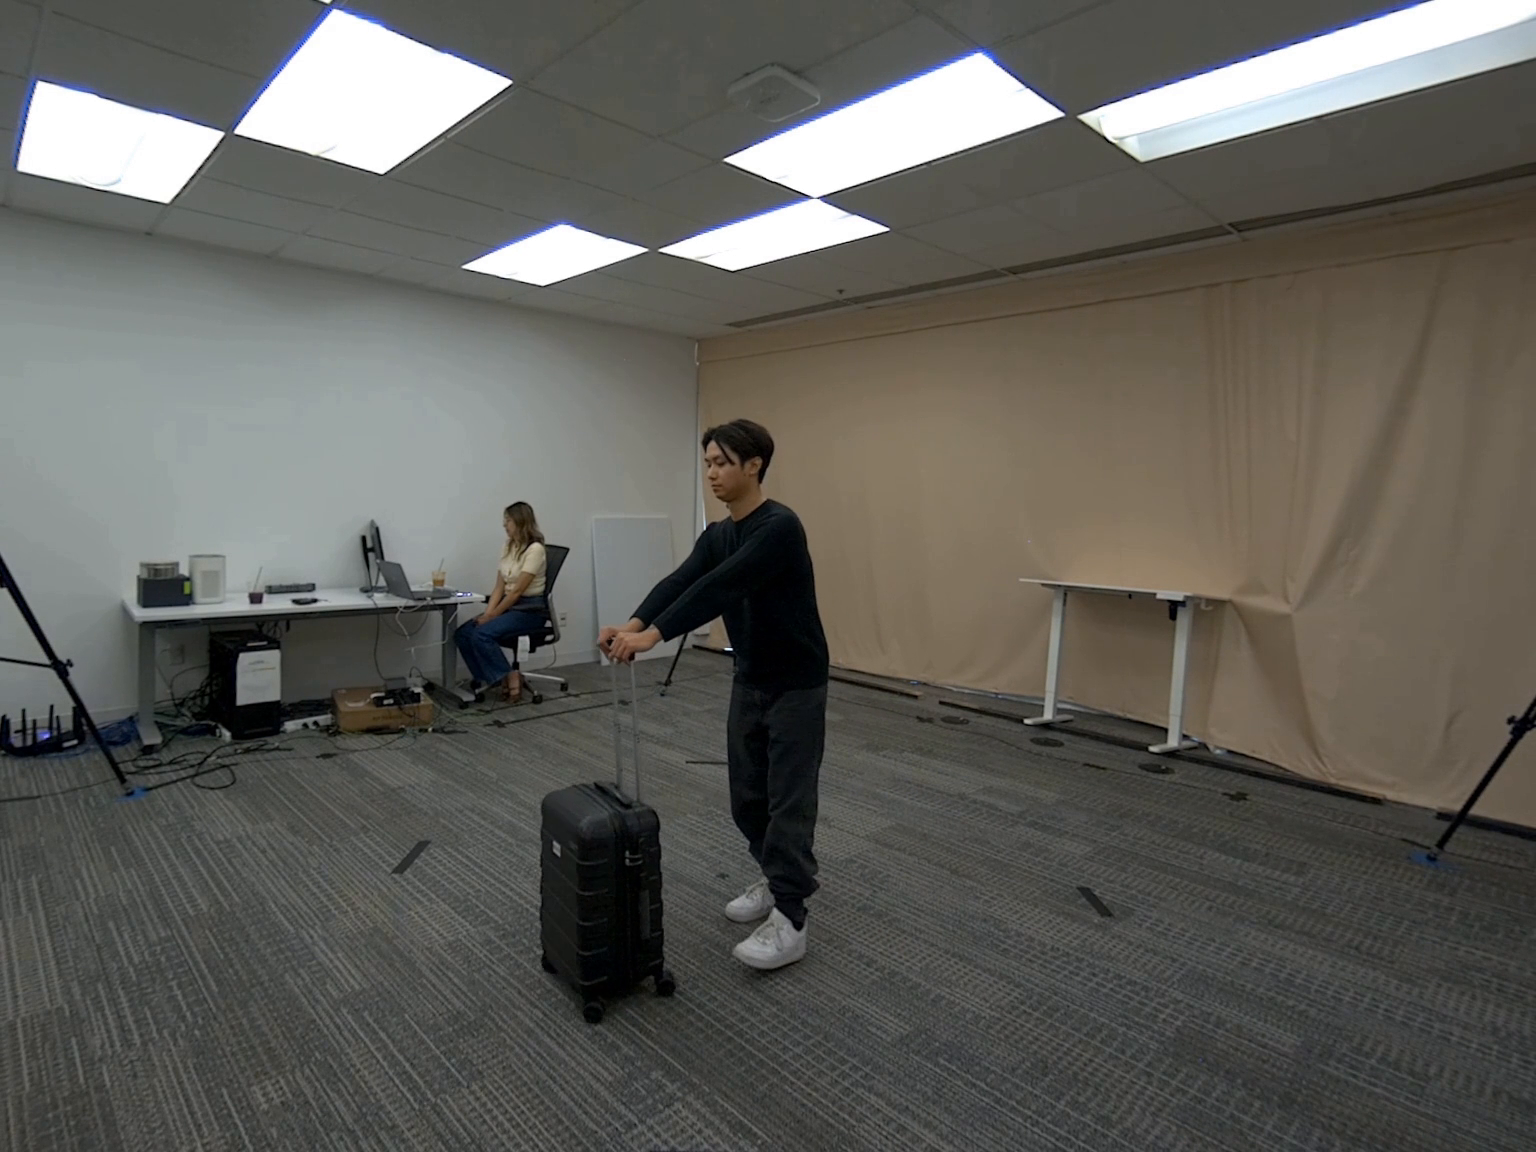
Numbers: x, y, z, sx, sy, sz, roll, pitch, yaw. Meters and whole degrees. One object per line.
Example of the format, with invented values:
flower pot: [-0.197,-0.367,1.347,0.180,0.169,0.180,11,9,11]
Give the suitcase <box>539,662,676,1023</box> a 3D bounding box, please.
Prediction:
suitcase: [-0.500,0.697,2.377,0.252,0.976,0.392,-5,4,-32]
